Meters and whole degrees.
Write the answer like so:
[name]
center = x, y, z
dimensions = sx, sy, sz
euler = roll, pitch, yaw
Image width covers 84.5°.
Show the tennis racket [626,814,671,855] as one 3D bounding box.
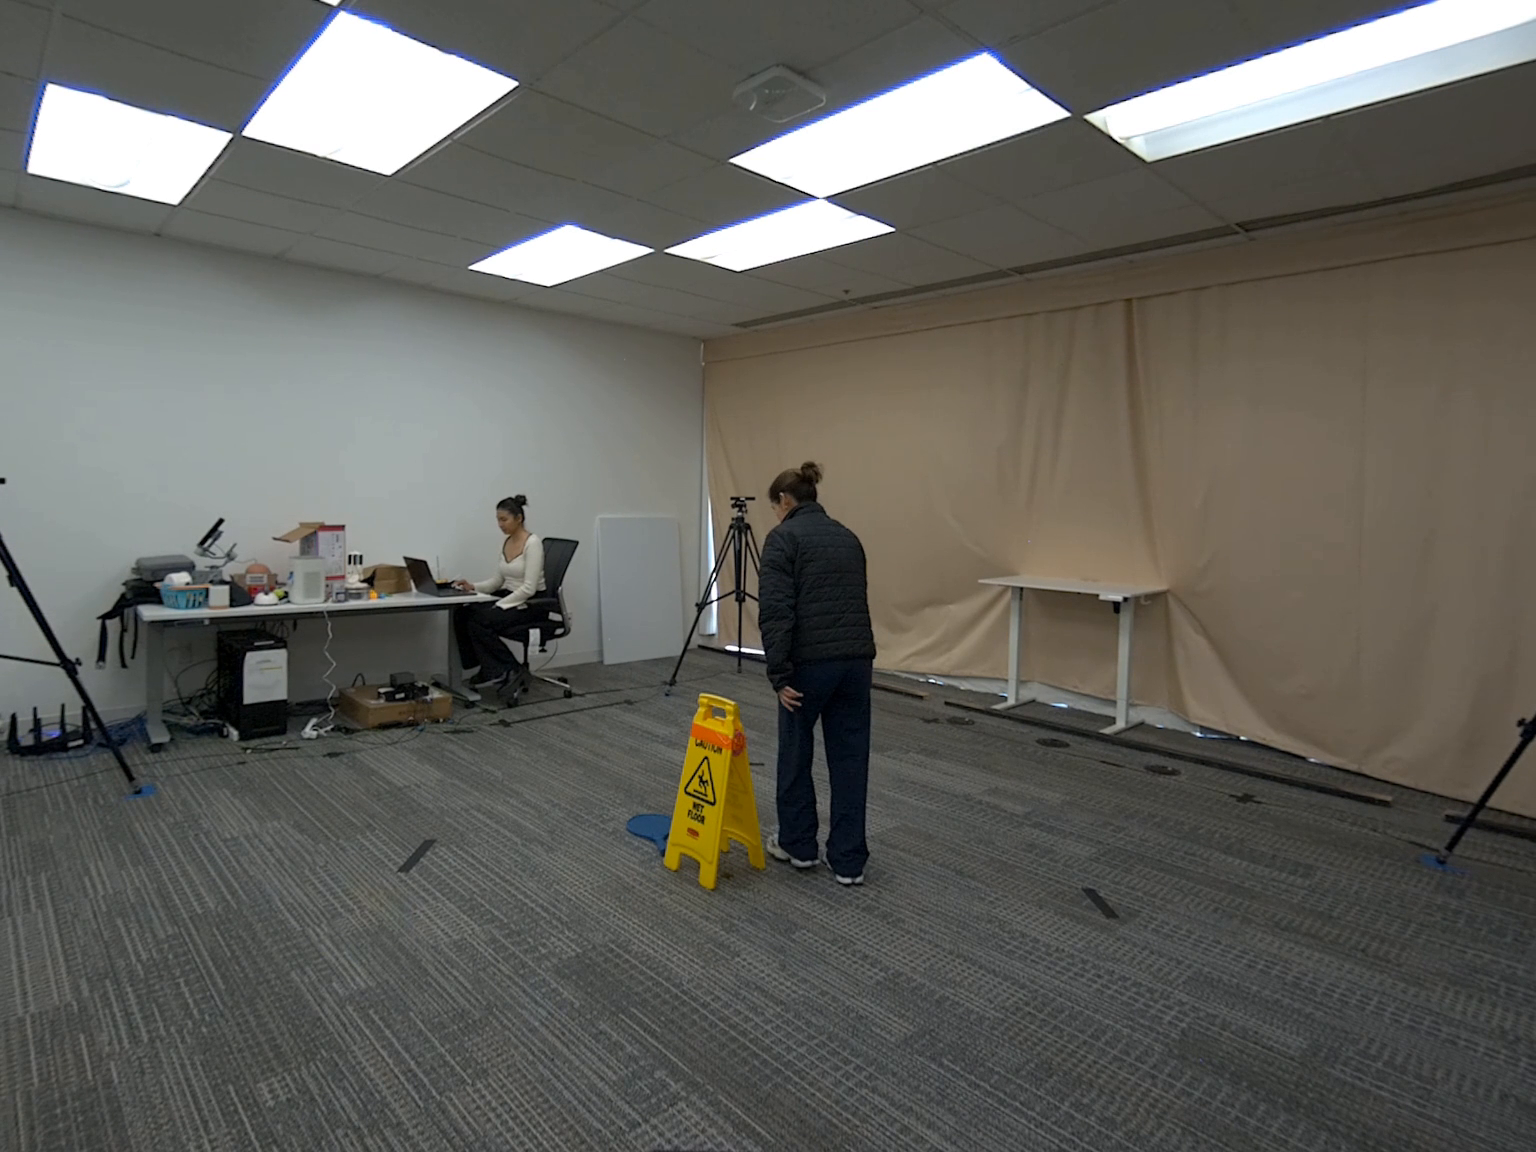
[tennis racket]
center = -0.467, 1.049, 3.447
dimensions = 0.211, 0.032, 0.439
euler = -1, 4, -16
